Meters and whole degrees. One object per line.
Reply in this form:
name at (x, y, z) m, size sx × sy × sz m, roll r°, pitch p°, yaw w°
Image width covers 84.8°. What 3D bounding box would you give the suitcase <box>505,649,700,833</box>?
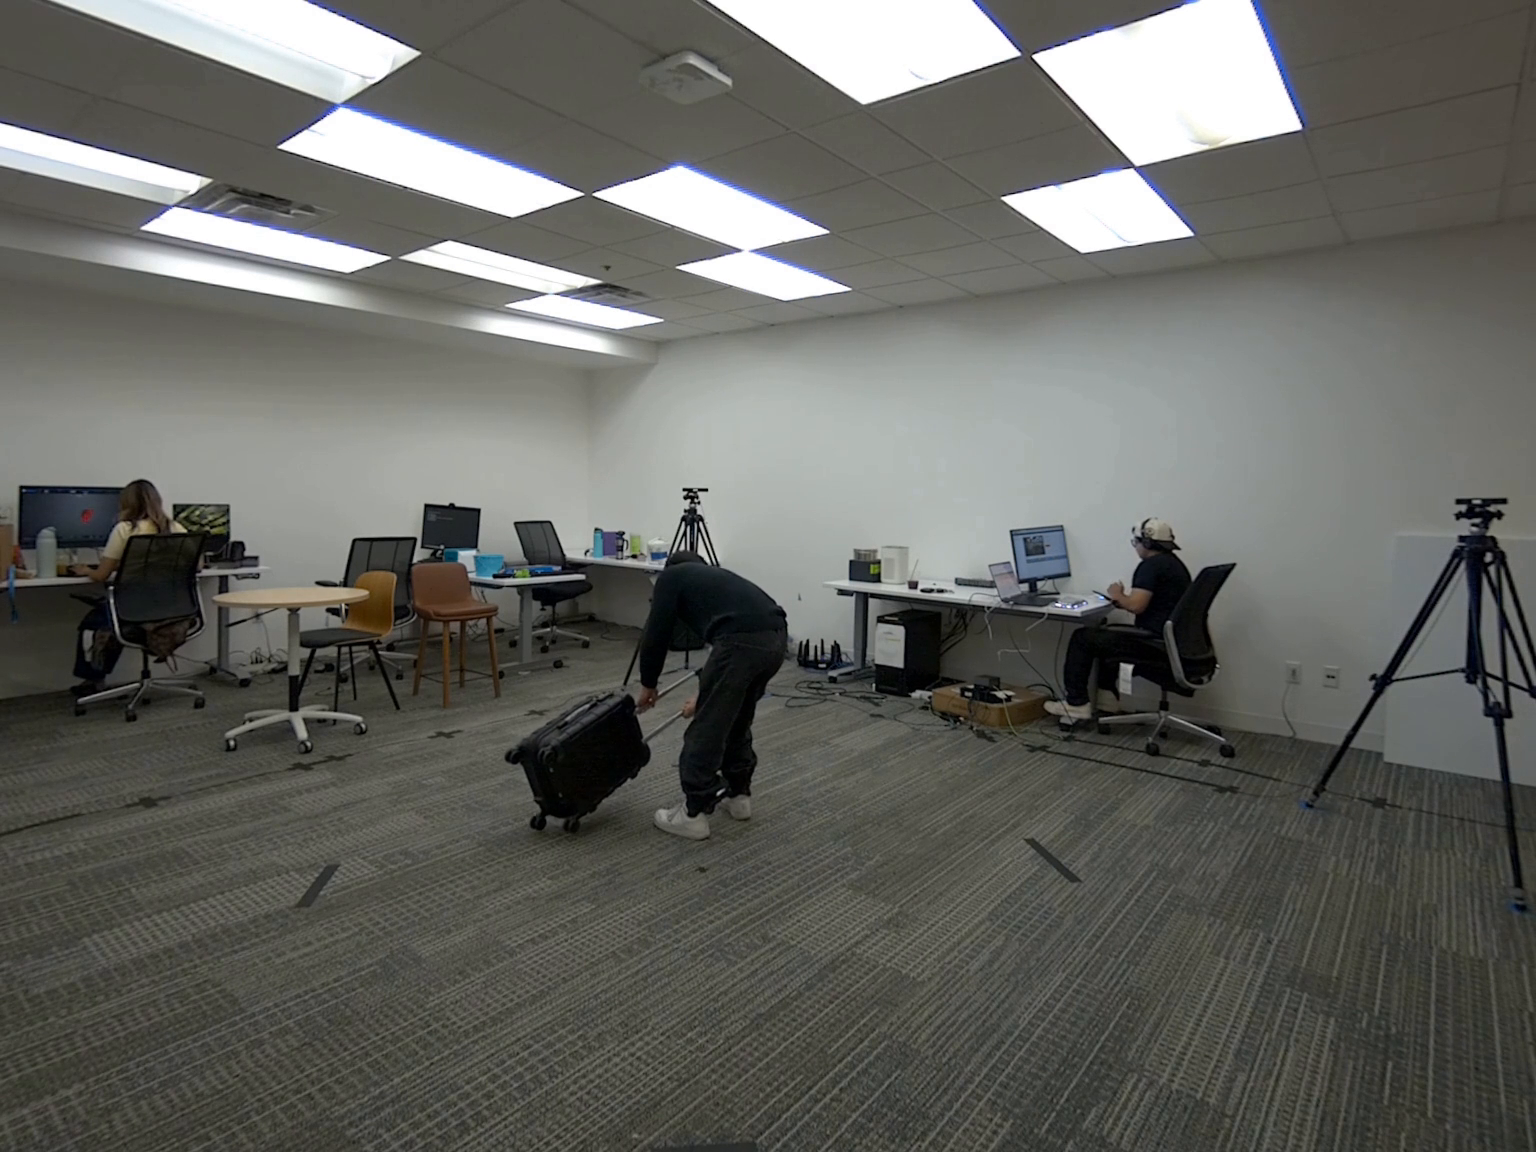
suitcase at (-0.673, 0.666, 3.674) m, size 0.263 × 0.379 × 0.967 m, roll -11°, pitch 13°, yaw 36°
